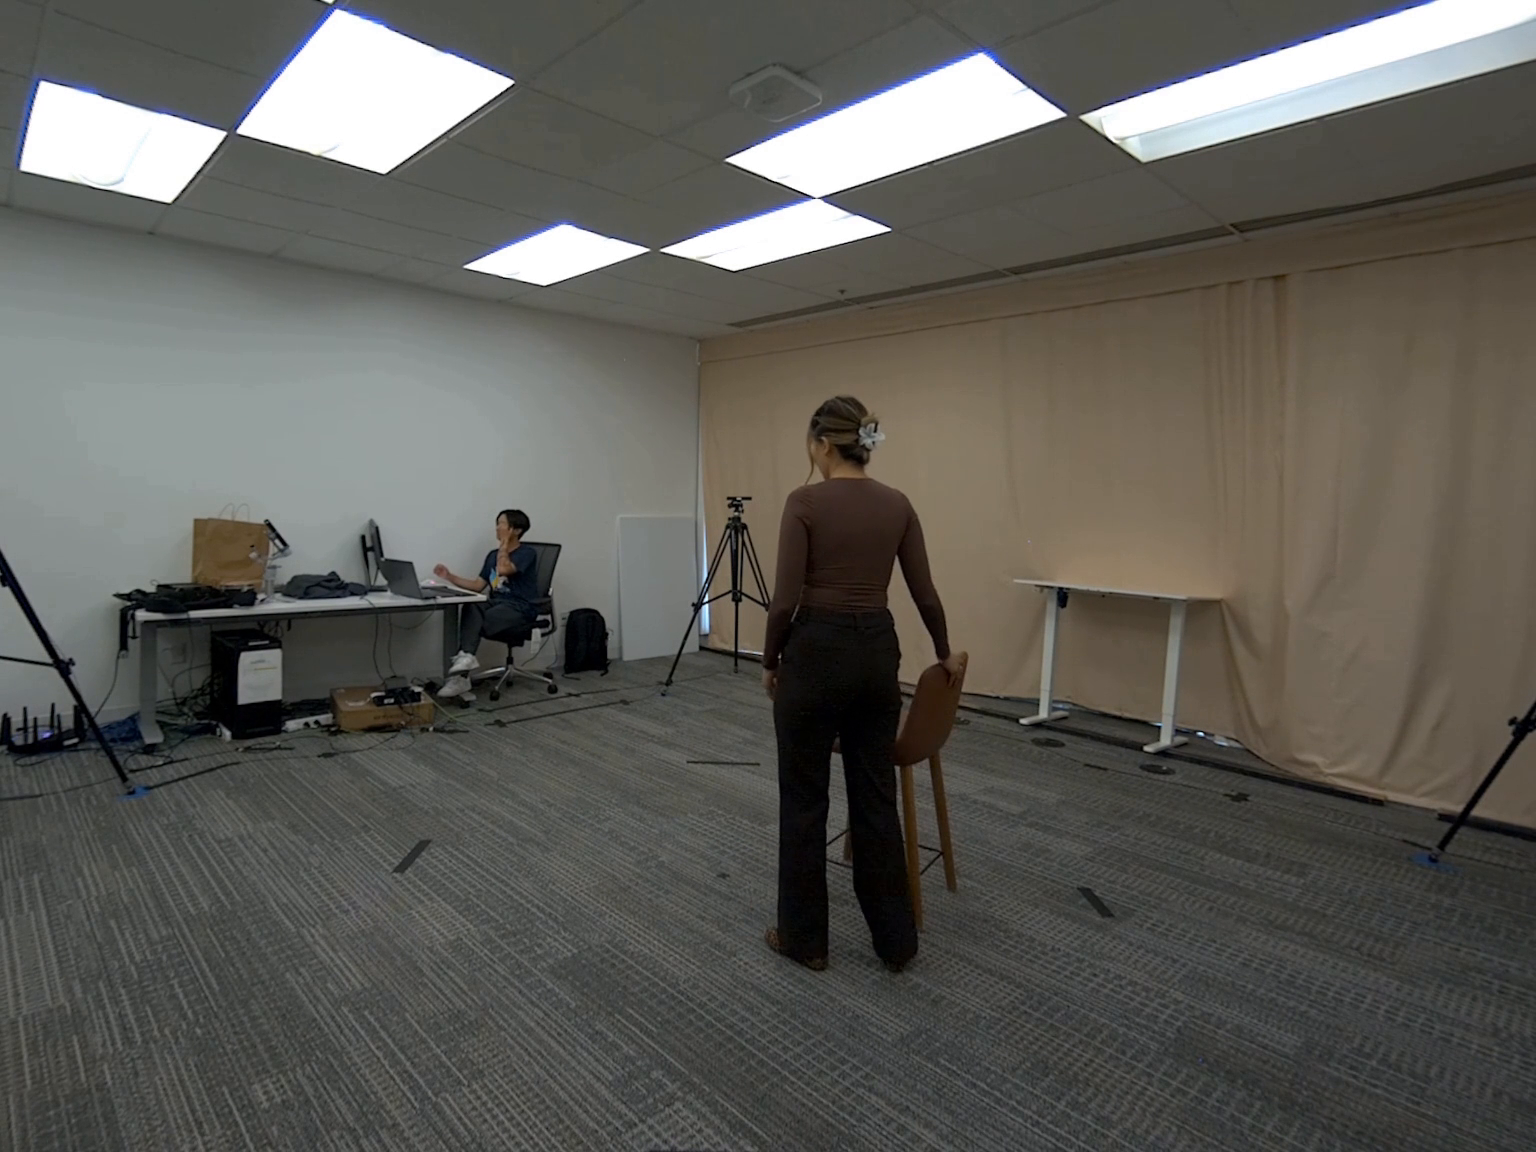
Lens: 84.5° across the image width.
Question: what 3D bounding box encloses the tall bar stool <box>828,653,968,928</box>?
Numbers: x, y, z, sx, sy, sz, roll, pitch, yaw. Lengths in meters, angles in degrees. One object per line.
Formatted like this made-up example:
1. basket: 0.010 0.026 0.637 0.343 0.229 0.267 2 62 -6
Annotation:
1. tall bar stool: 0.414 0.693 2.978 0.479 0.886 0.447 6 6 32
